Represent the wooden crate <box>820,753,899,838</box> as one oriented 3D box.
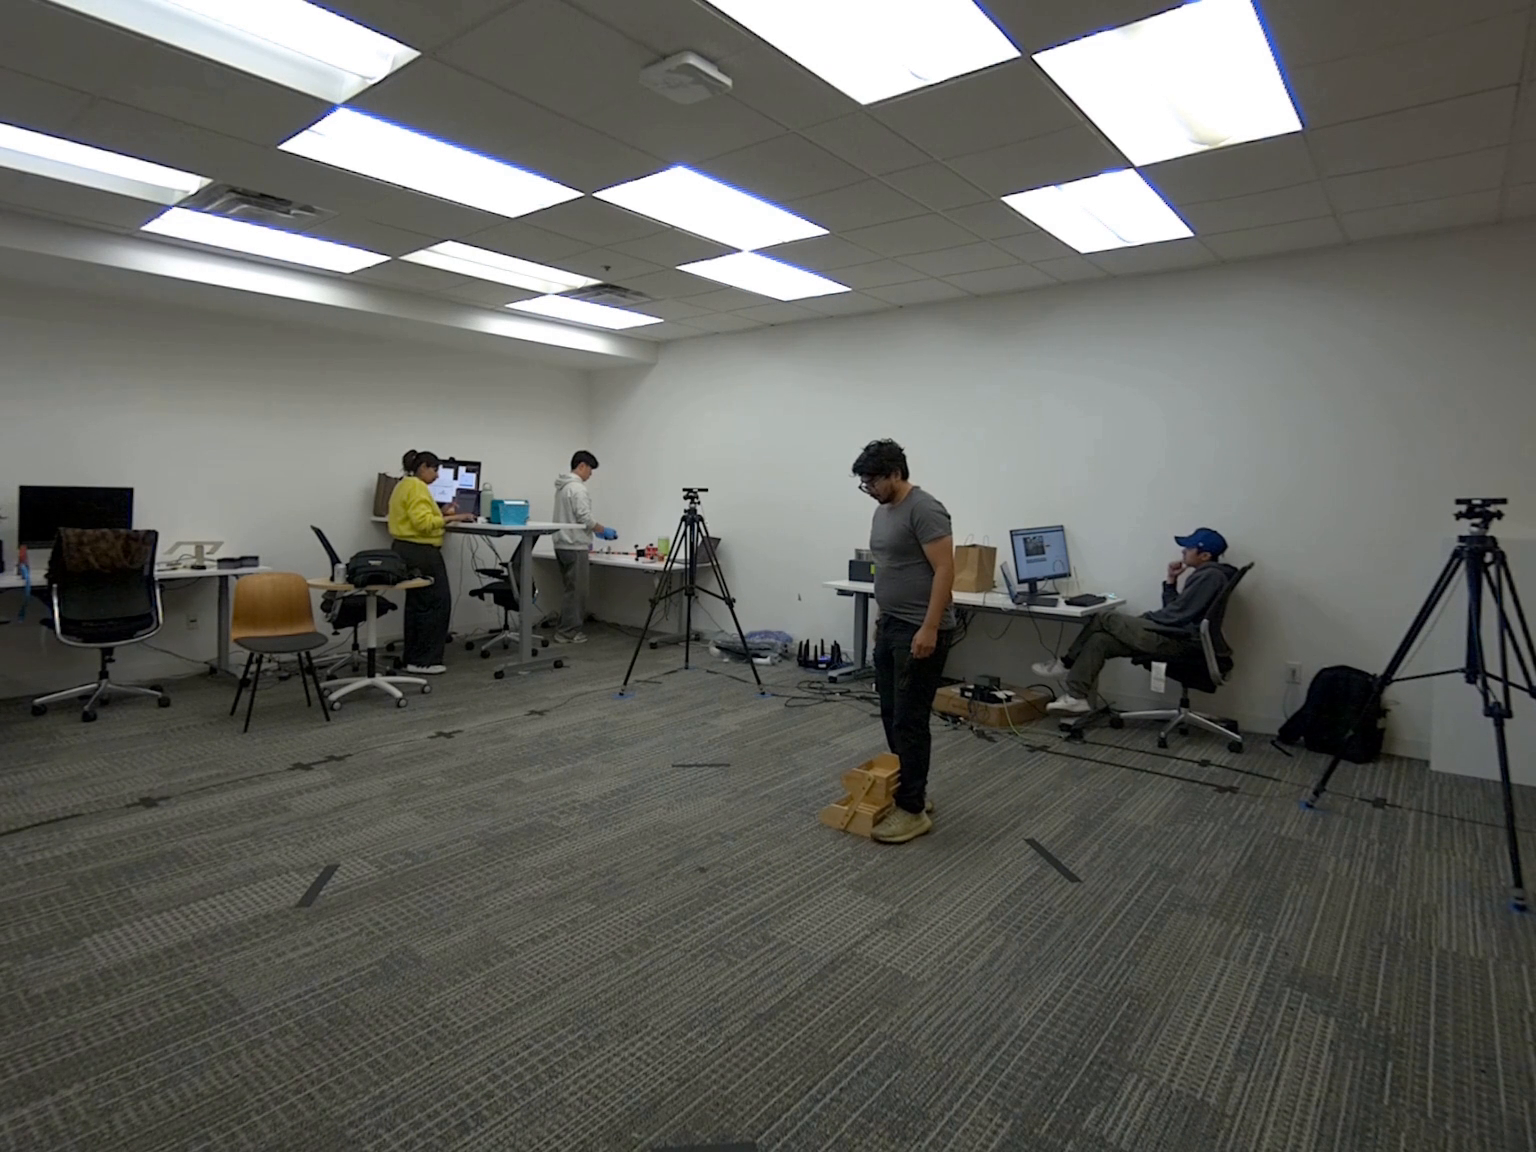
[{"bbox_3d":[0.407,0.900,3.606,0.312,0.272,0.315,5,6,34],"label":"wooden crate"}]
